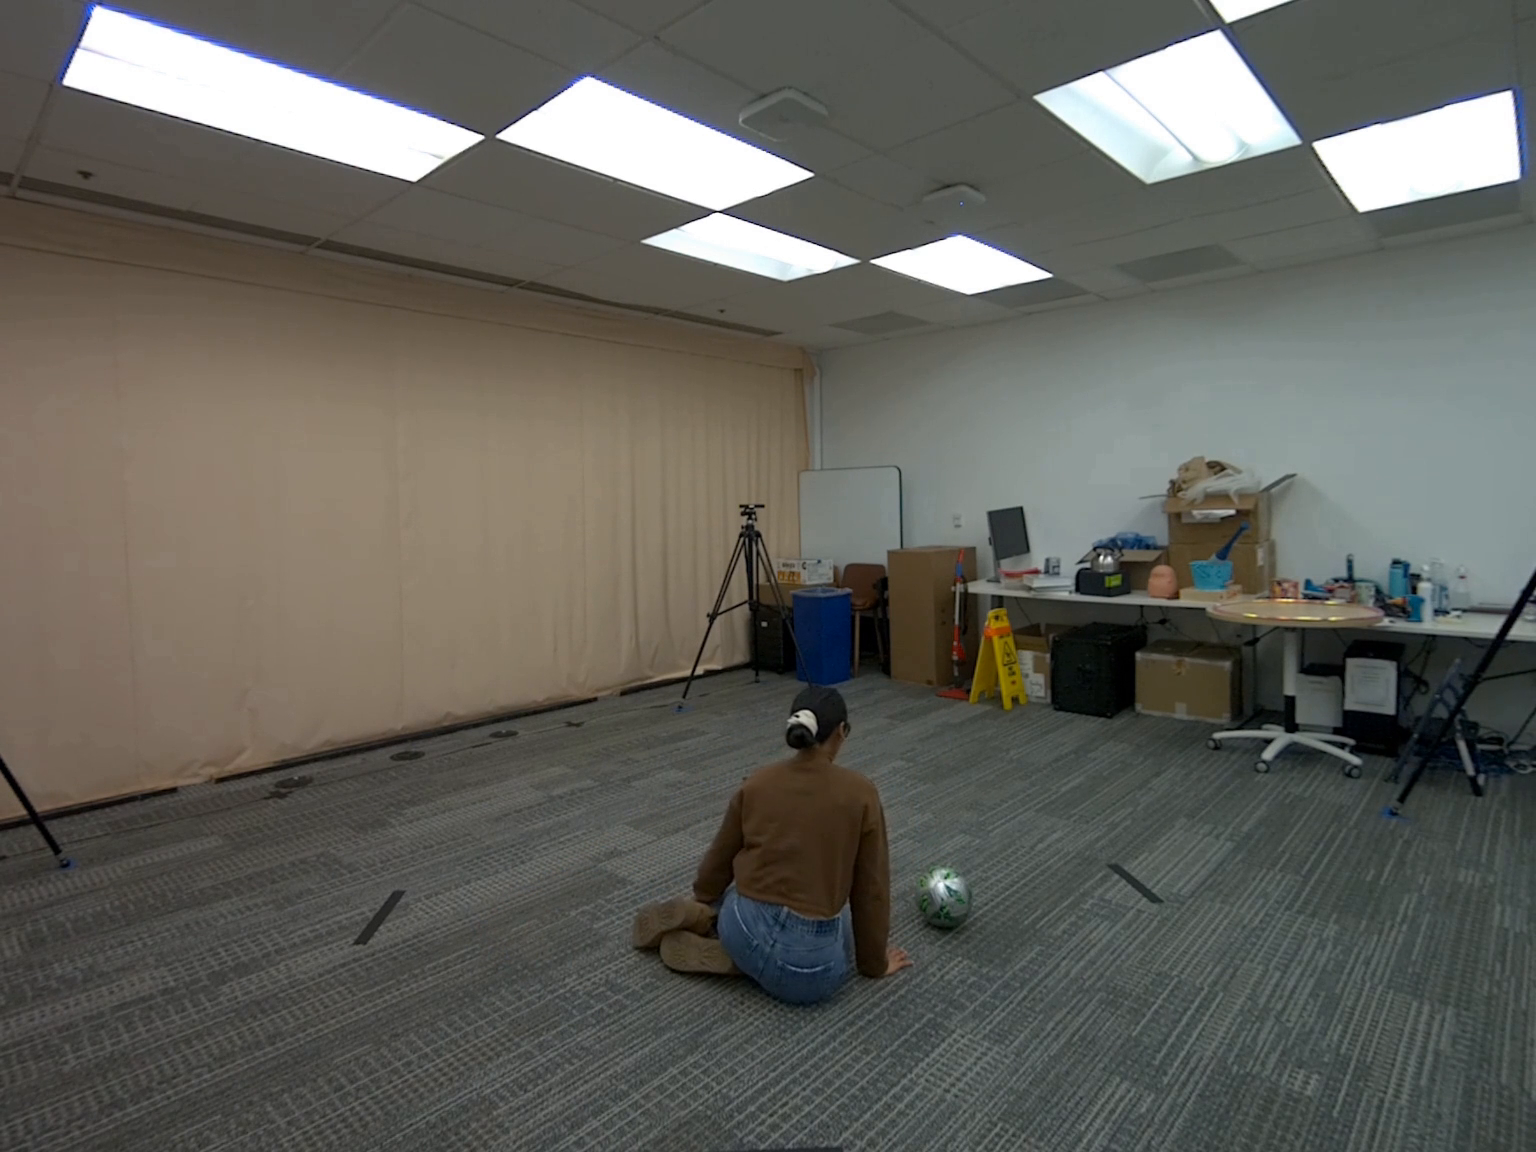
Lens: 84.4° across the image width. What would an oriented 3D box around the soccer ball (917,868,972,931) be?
[{"bbox_3d":[0.589,1.054,2.765,0.187,0.187,0.188,-1,4,-2],"label":"soccer ball"}]
